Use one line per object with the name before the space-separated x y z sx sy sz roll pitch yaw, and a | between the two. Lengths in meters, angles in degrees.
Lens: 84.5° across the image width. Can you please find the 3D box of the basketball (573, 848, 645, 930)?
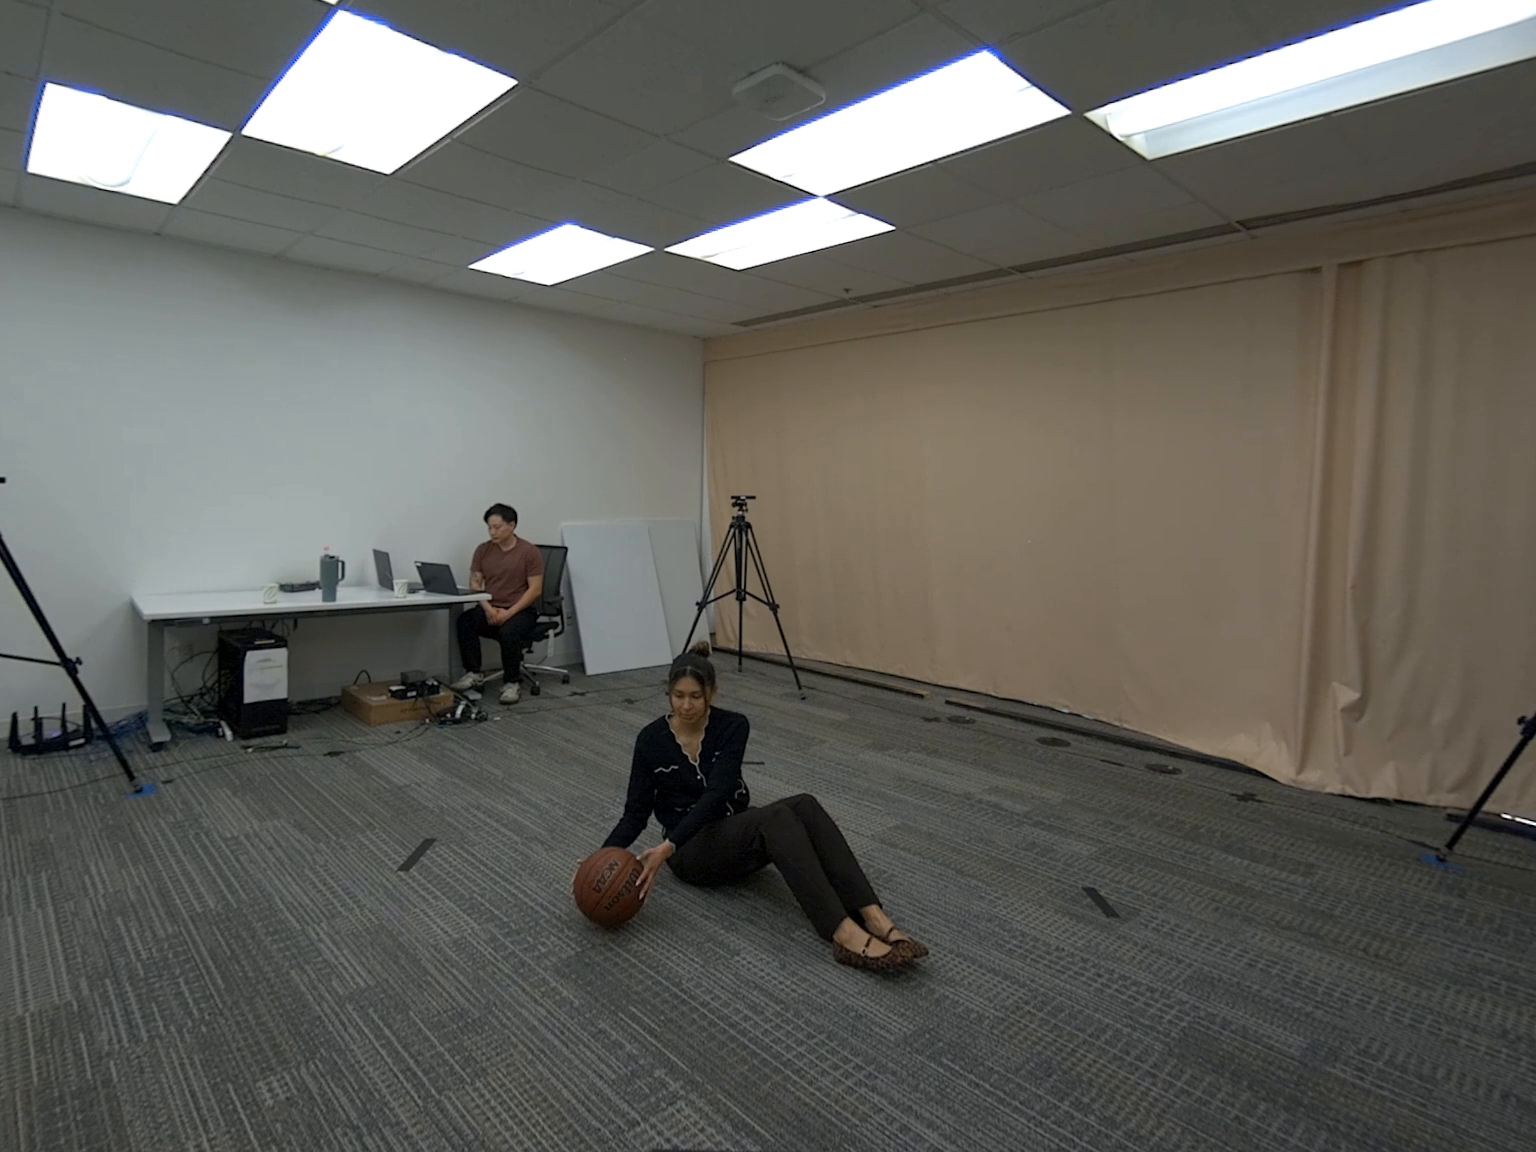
basketball | -0.514 0.984 2.698 0.236 0.235 0.237 1 4 -1
